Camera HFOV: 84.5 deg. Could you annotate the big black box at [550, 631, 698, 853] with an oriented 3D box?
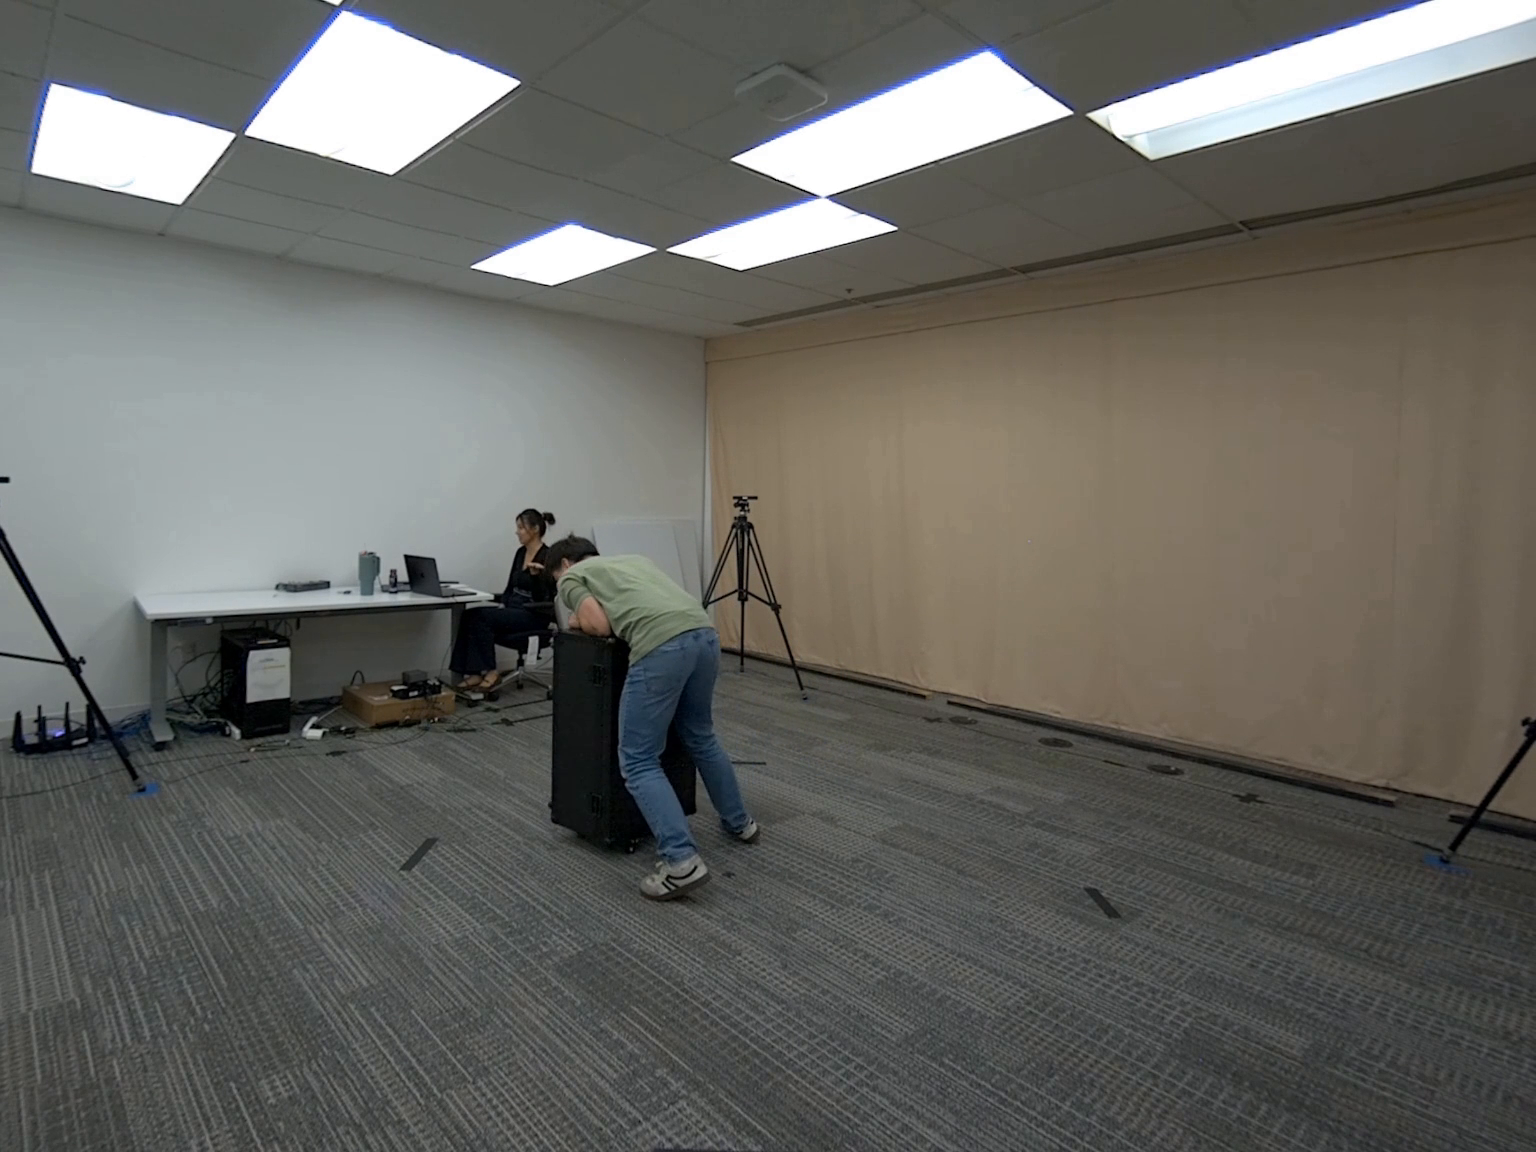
[{"bbox_3d":[-0.604,0.642,3.446,0.406,0.860,0.510,1,3,39],"label":"big black box"}]
